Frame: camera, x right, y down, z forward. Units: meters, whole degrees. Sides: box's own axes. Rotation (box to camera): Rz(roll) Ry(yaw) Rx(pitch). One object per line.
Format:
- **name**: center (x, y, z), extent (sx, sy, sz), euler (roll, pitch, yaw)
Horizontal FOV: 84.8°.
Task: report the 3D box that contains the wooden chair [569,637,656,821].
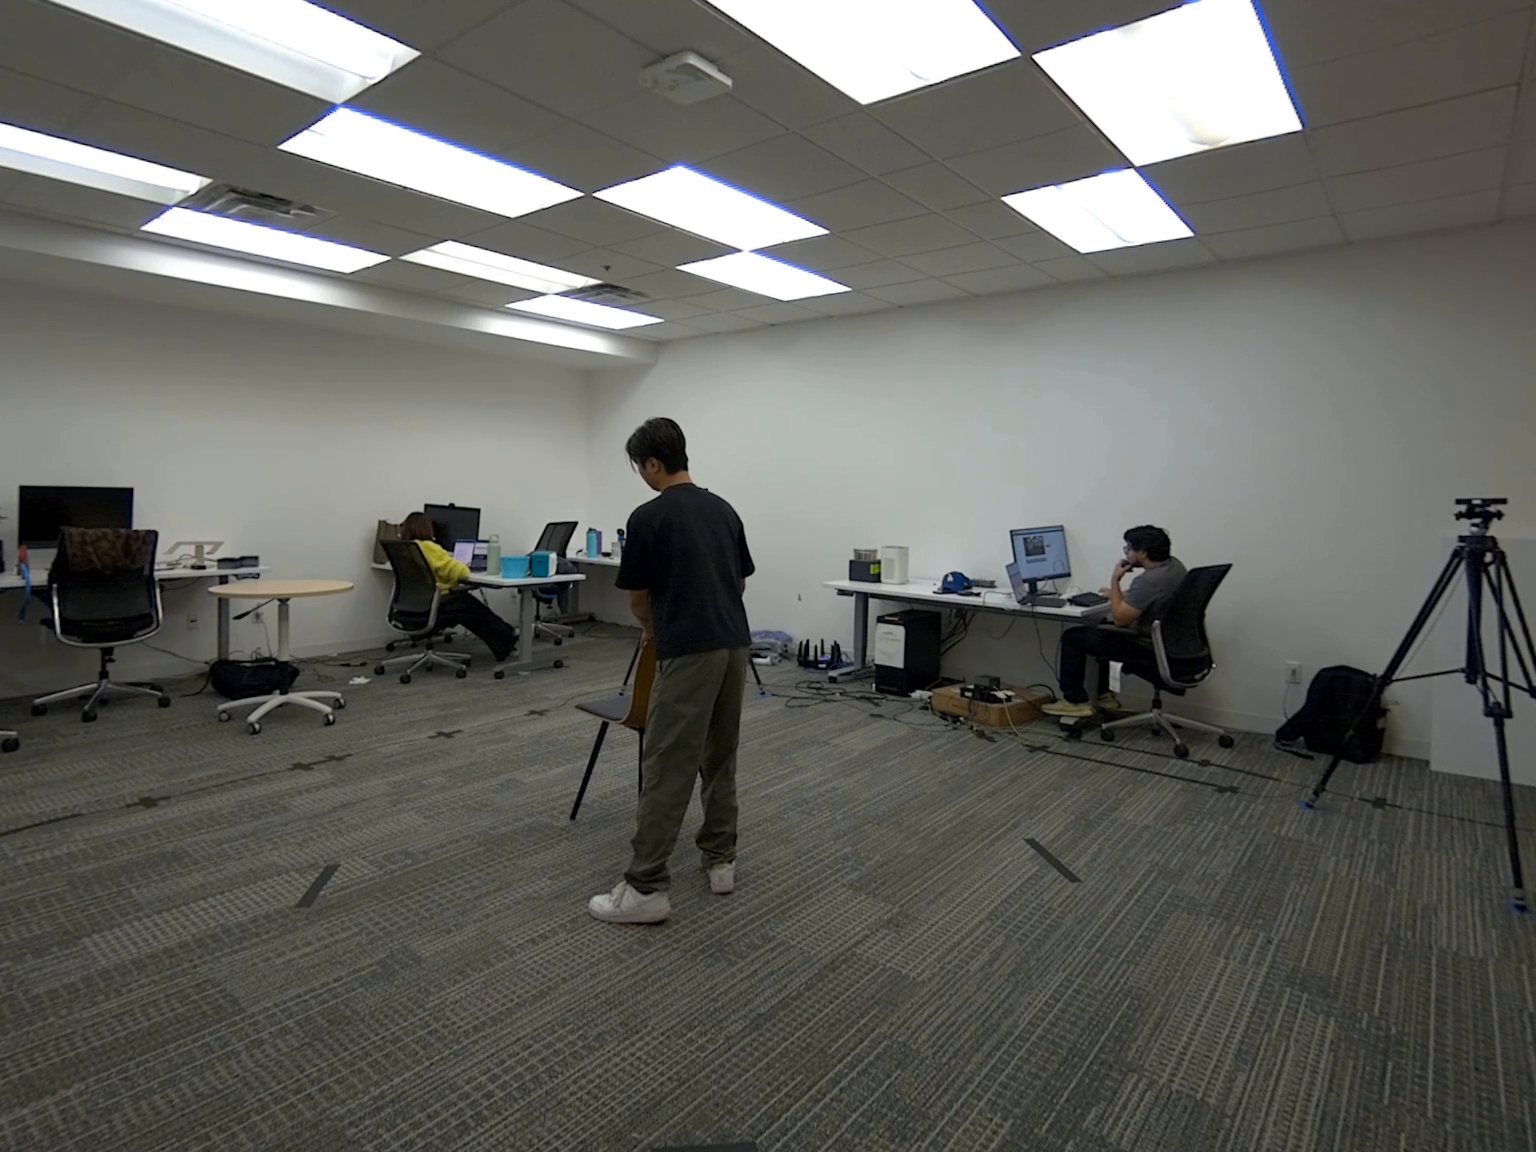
- **wooden chair**: center (-0.520, 0.591, 3.534), extent (0.542, 0.872, 0.464), euler (10, 9, 42)
